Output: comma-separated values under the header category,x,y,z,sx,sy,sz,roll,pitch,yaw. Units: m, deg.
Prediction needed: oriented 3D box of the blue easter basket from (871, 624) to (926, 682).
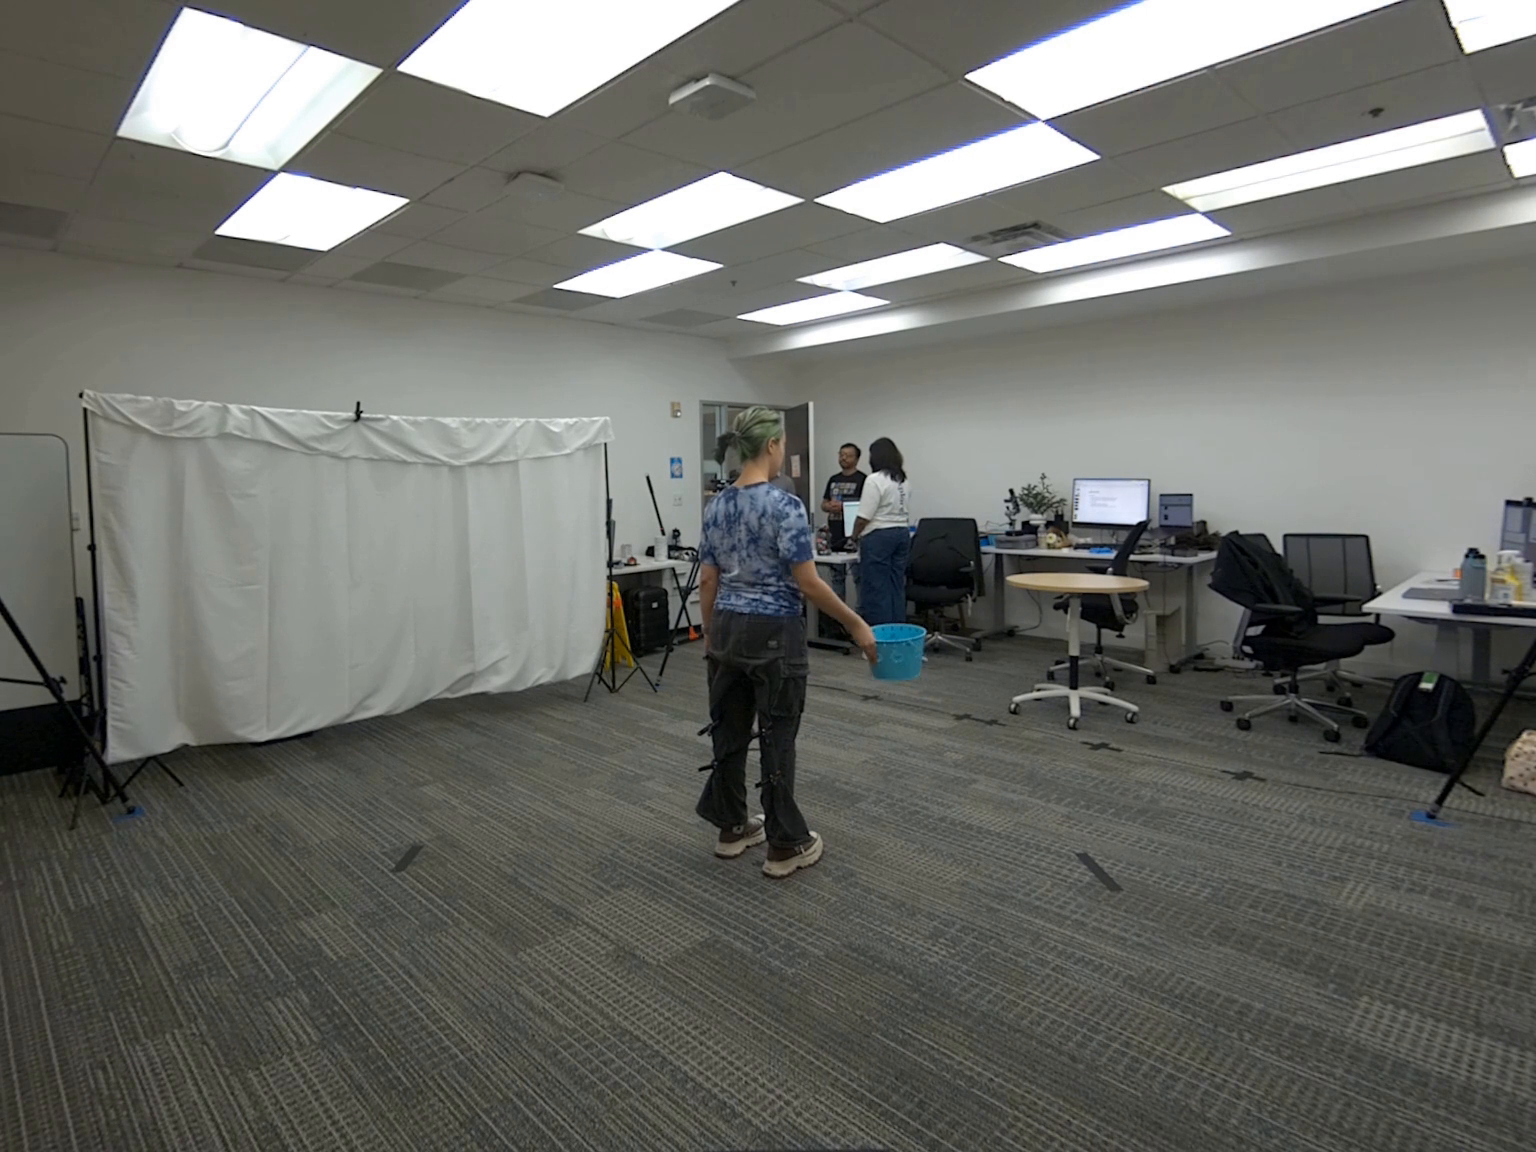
category,x,y,z,sx,sy,sz,roll,pitch,yaw
blue easter basket,0.457,0.272,3.088,0.243,0.154,0.246,-6,10,-1
